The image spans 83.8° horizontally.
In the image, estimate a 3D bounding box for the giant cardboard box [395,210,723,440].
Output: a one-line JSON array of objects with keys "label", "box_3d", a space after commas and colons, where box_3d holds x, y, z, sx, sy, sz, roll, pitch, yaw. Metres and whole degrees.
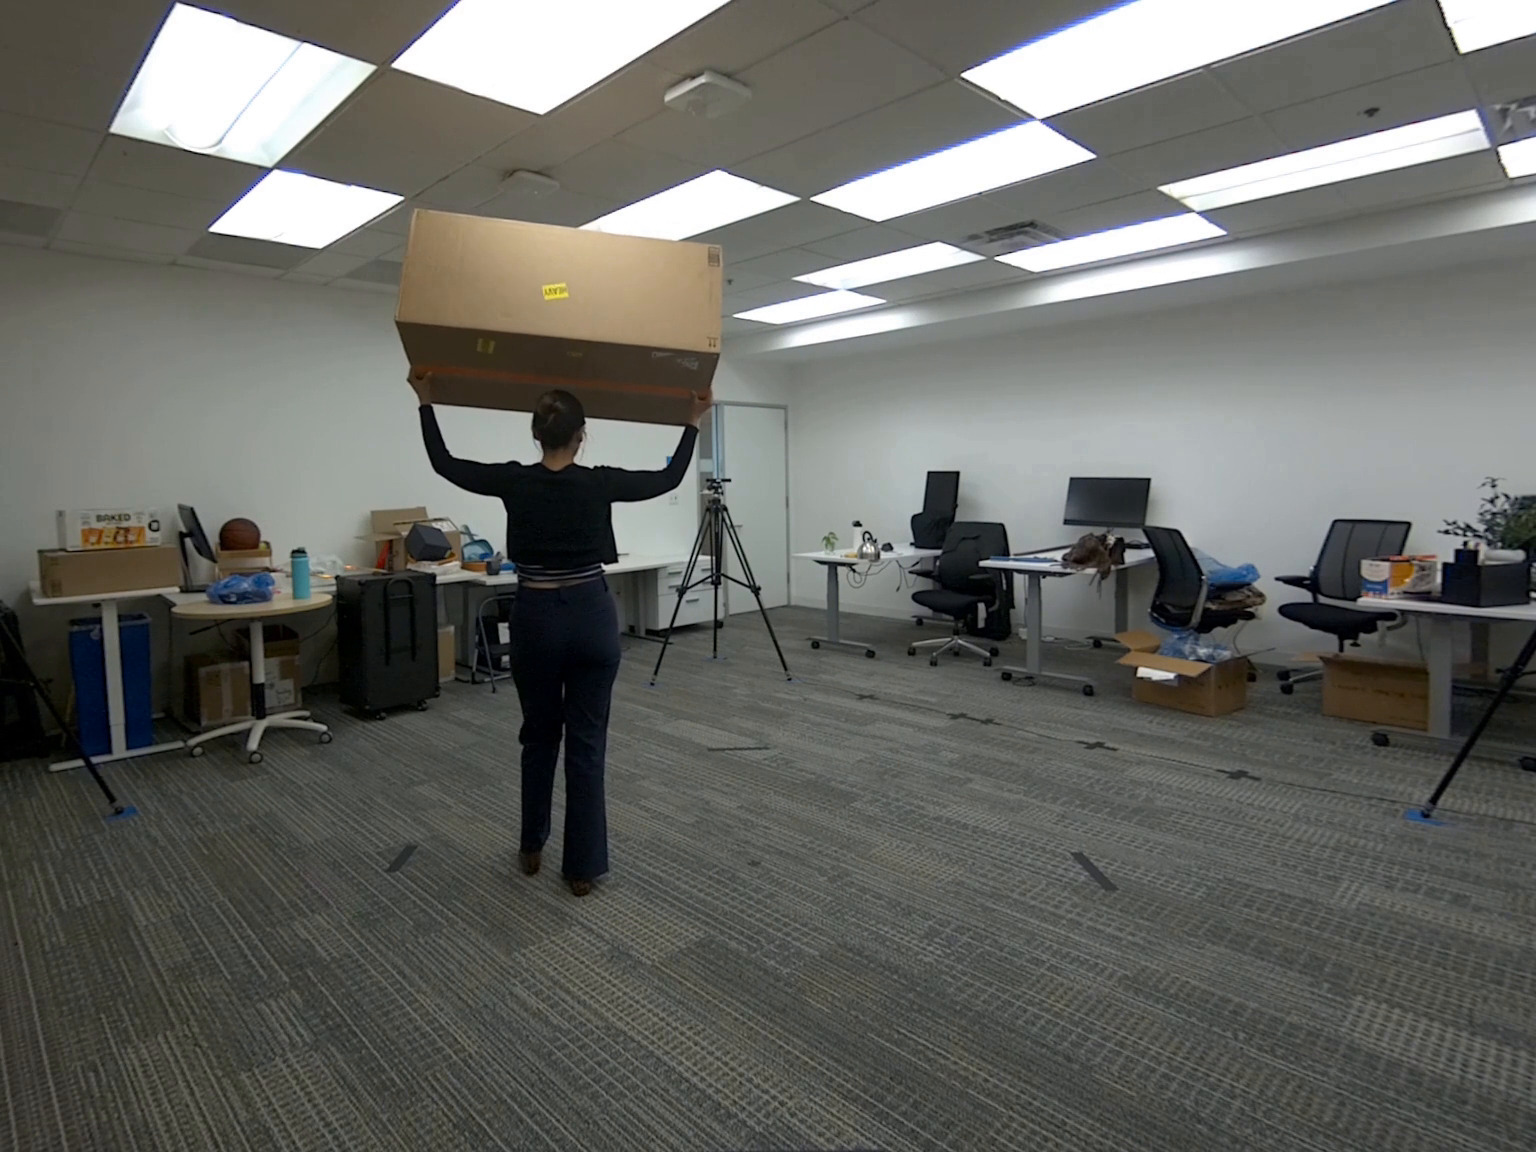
[{"label": "giant cardboard box", "box_3d": [-0.711, -0.871, 3.031, 1.016, 0.432, 0.574, 4, -16, -9]}]
